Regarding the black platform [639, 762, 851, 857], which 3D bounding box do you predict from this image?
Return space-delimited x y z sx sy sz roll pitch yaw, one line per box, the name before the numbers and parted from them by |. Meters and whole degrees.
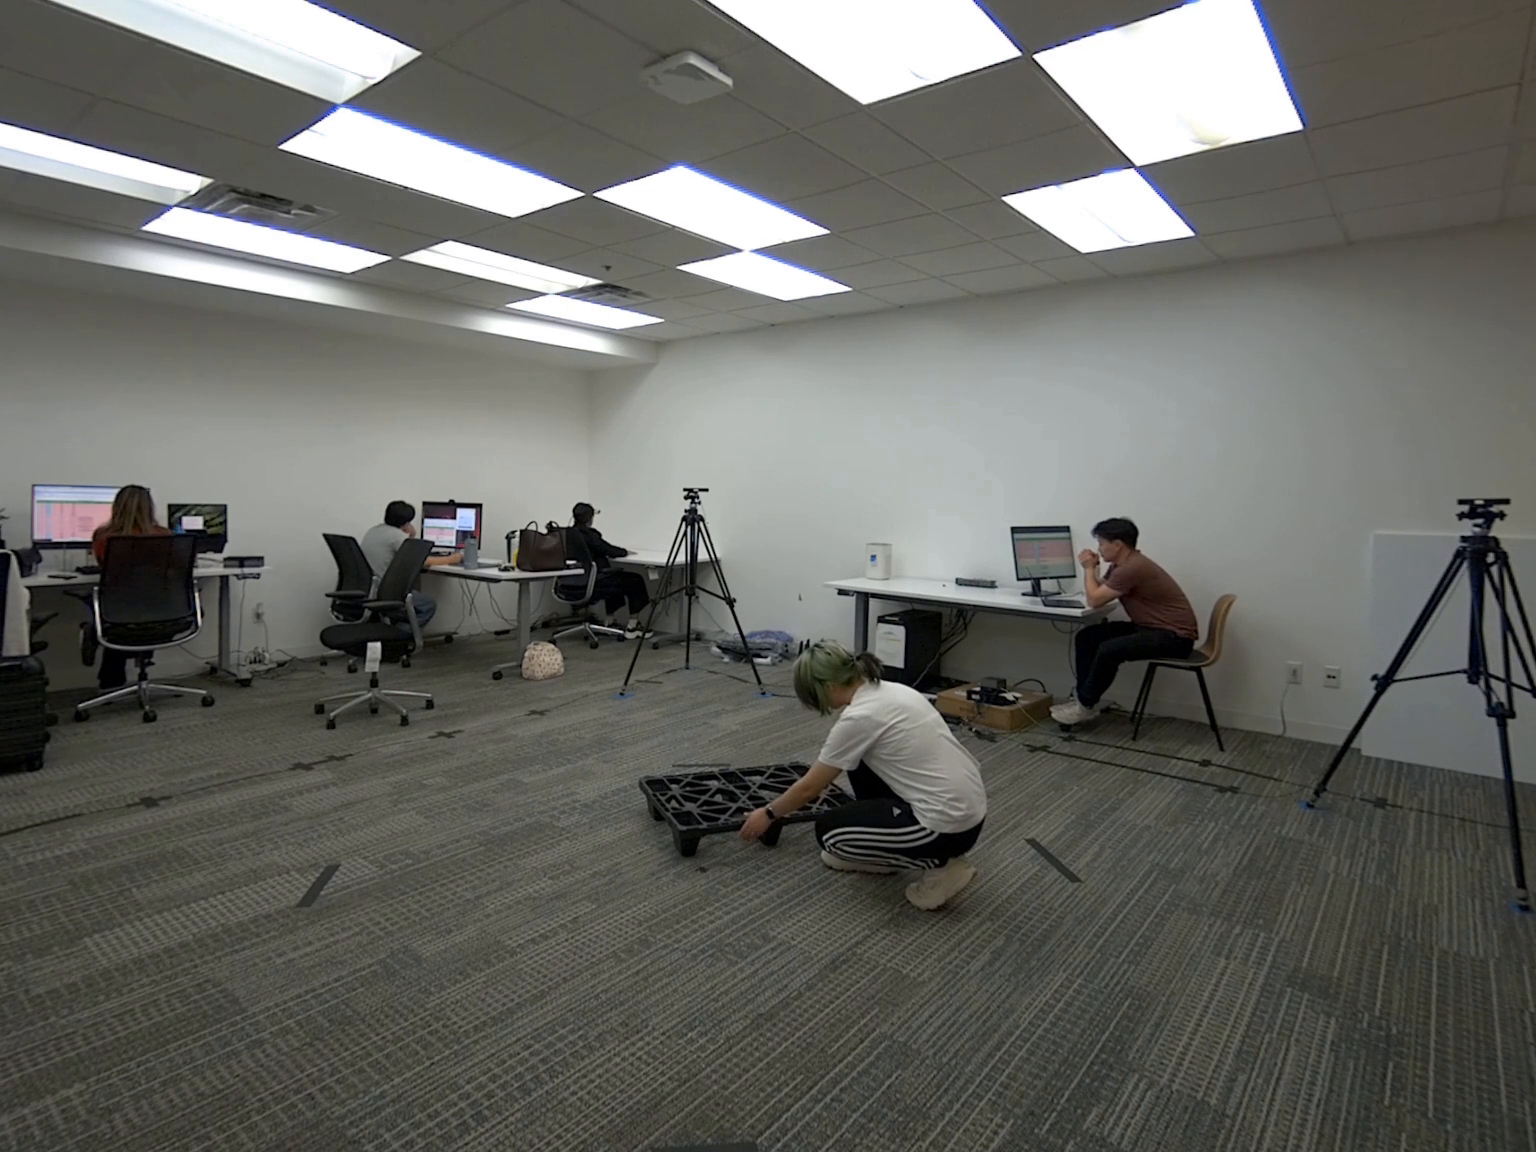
black platform | -0.095 0.960 3.550 0.789 0.143 0.620 -1 6 -22
